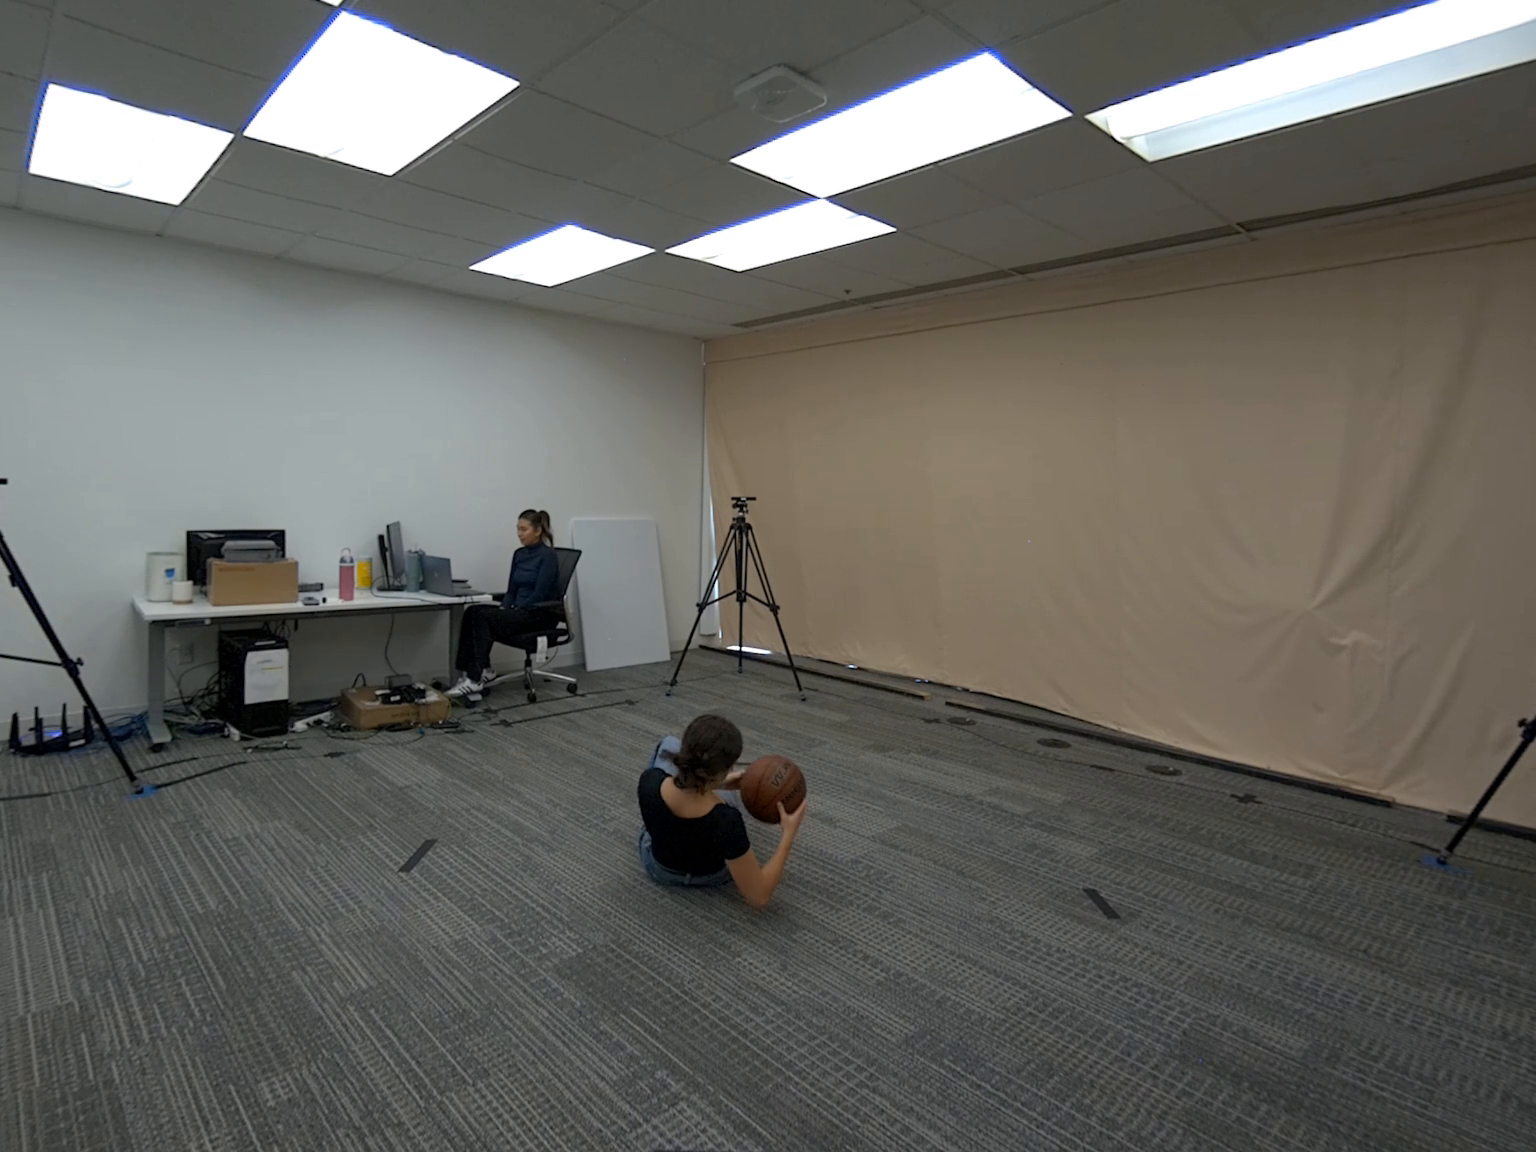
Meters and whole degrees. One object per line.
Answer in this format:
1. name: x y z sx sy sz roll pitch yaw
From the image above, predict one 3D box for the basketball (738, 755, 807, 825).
1. basketball: -0.005 0.771 3.008 0.236 0.235 0.237 1 4 -1
